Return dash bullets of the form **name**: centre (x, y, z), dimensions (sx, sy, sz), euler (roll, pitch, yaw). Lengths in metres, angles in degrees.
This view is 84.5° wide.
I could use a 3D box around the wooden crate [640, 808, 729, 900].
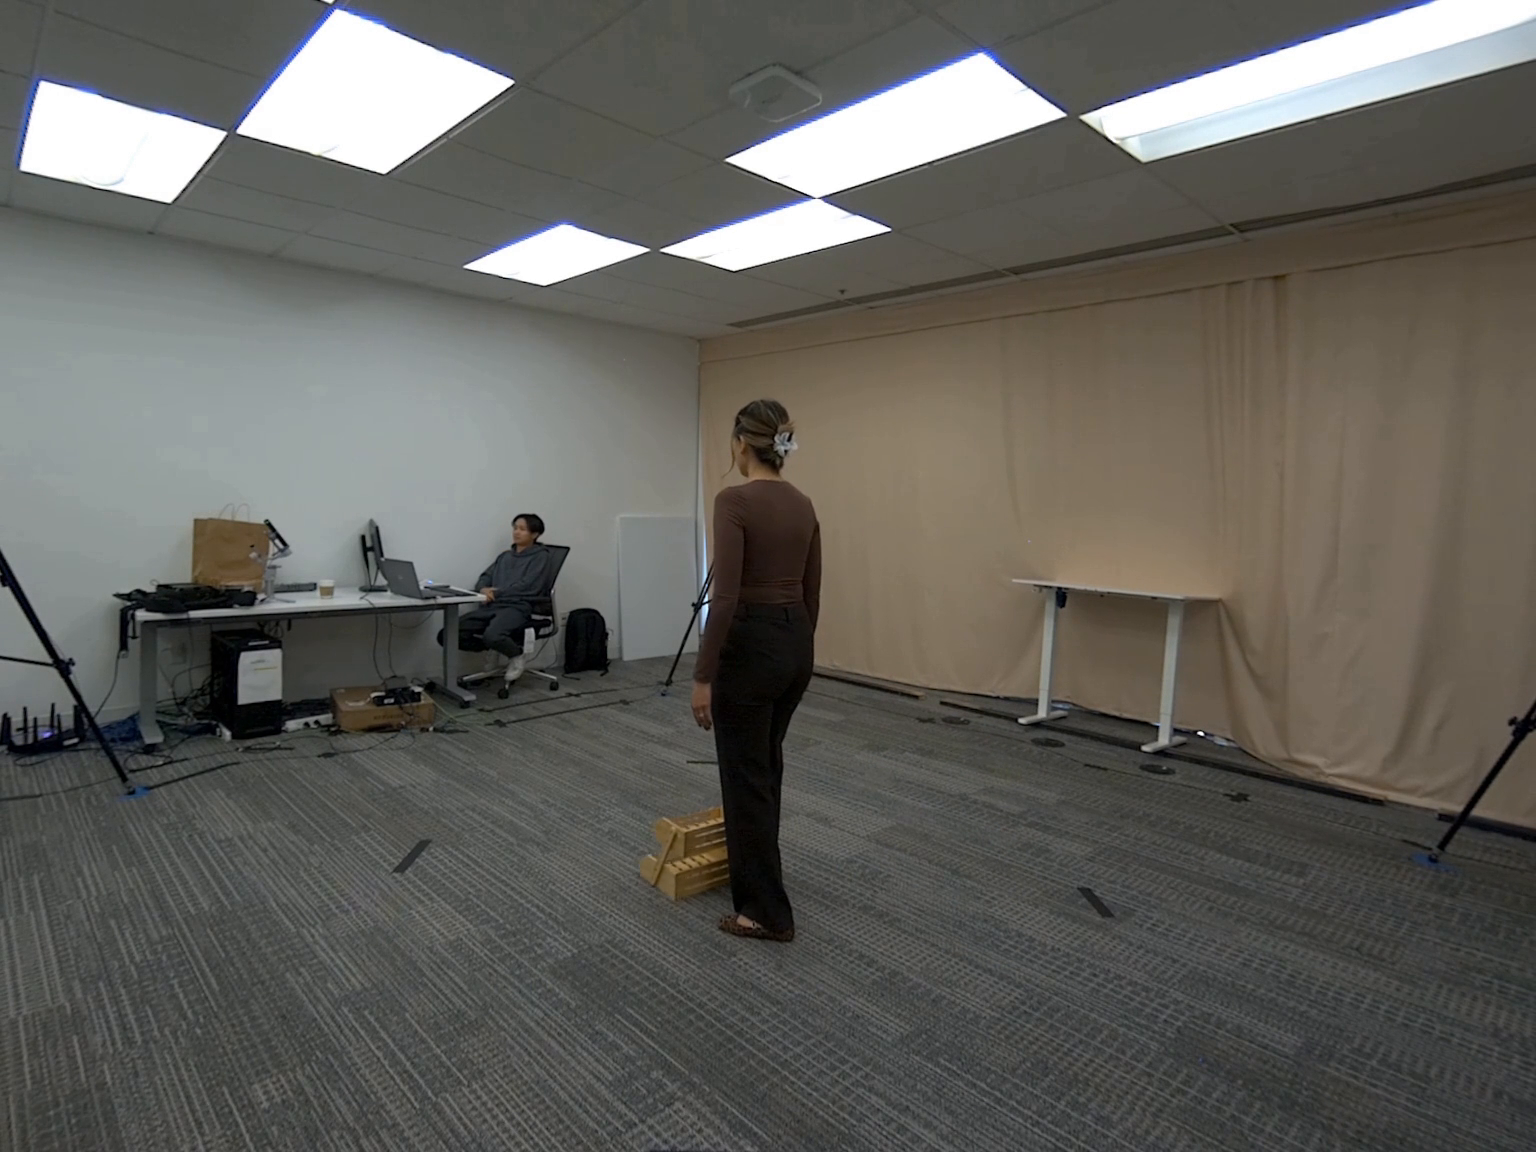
- **wooden crate**: centre (-0.276, 0.972, 3.069), dimensions (0.317, 0.272, 0.310), euler (-2, 6, -38)
